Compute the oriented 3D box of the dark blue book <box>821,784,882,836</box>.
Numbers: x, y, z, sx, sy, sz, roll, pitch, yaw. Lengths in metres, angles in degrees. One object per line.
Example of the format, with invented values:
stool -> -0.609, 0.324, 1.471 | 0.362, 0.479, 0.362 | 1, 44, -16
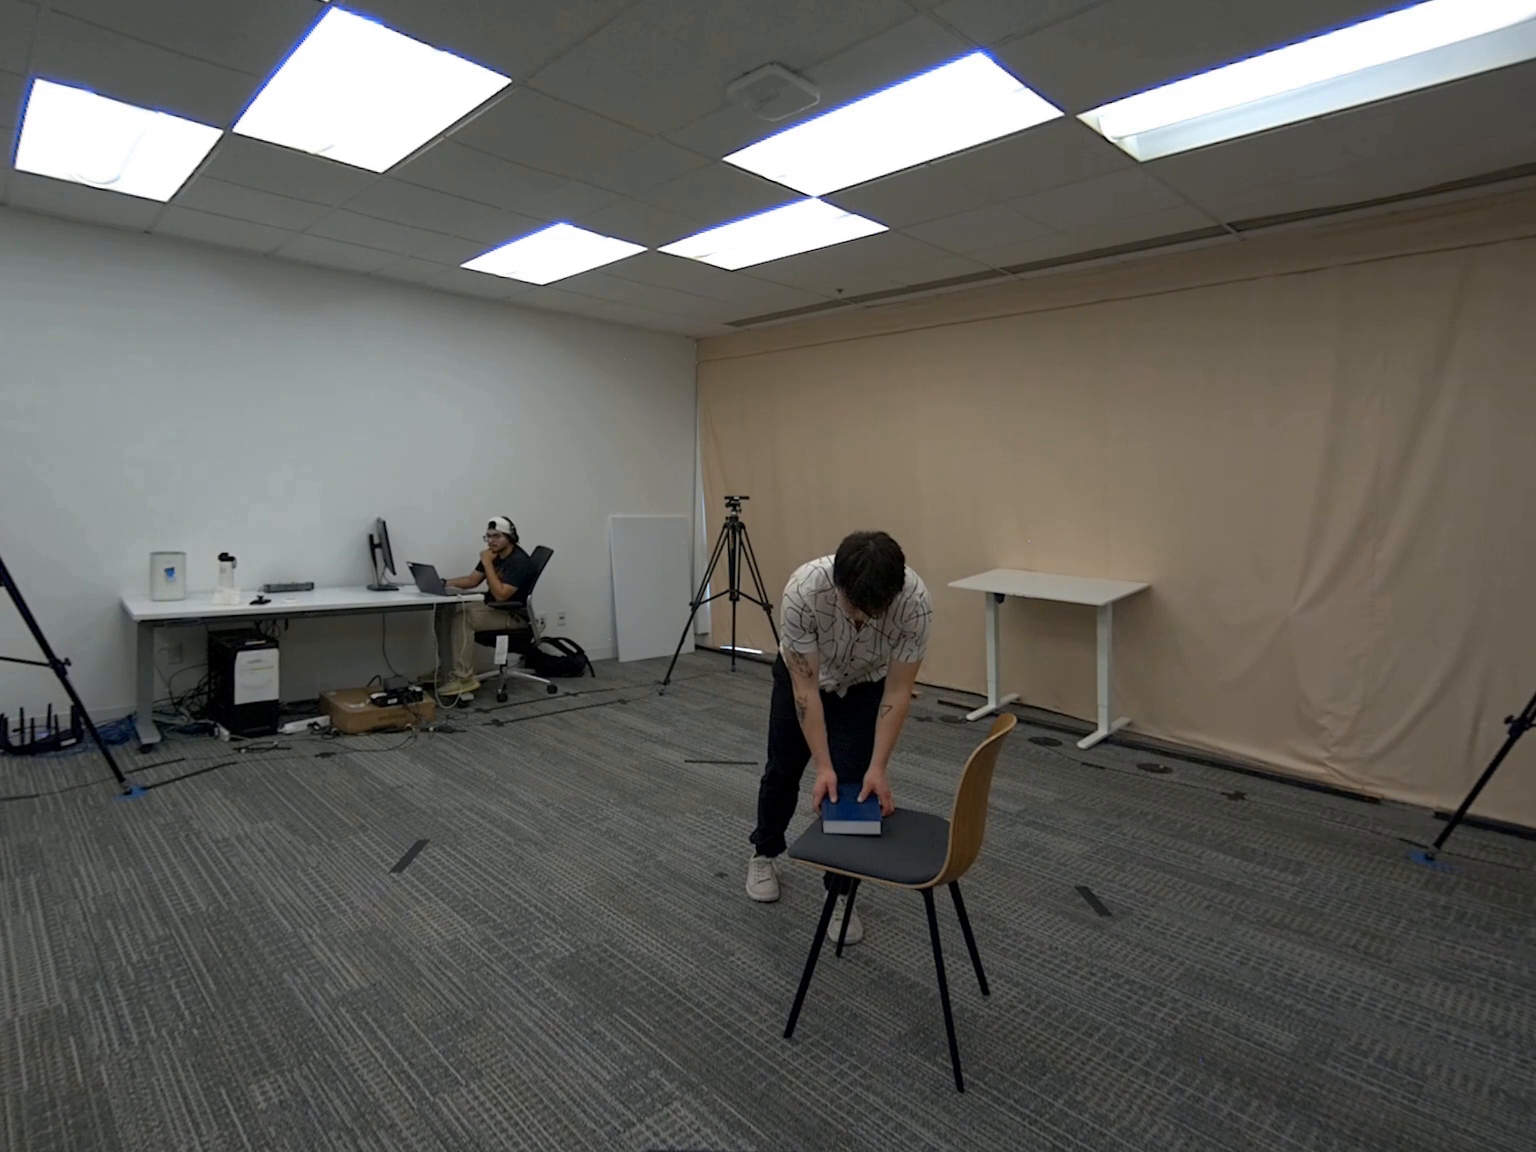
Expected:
dark blue book -> 0.213, 0.675, 2.401 | 0.165, 0.045, 0.244 | 0, 8, 9
